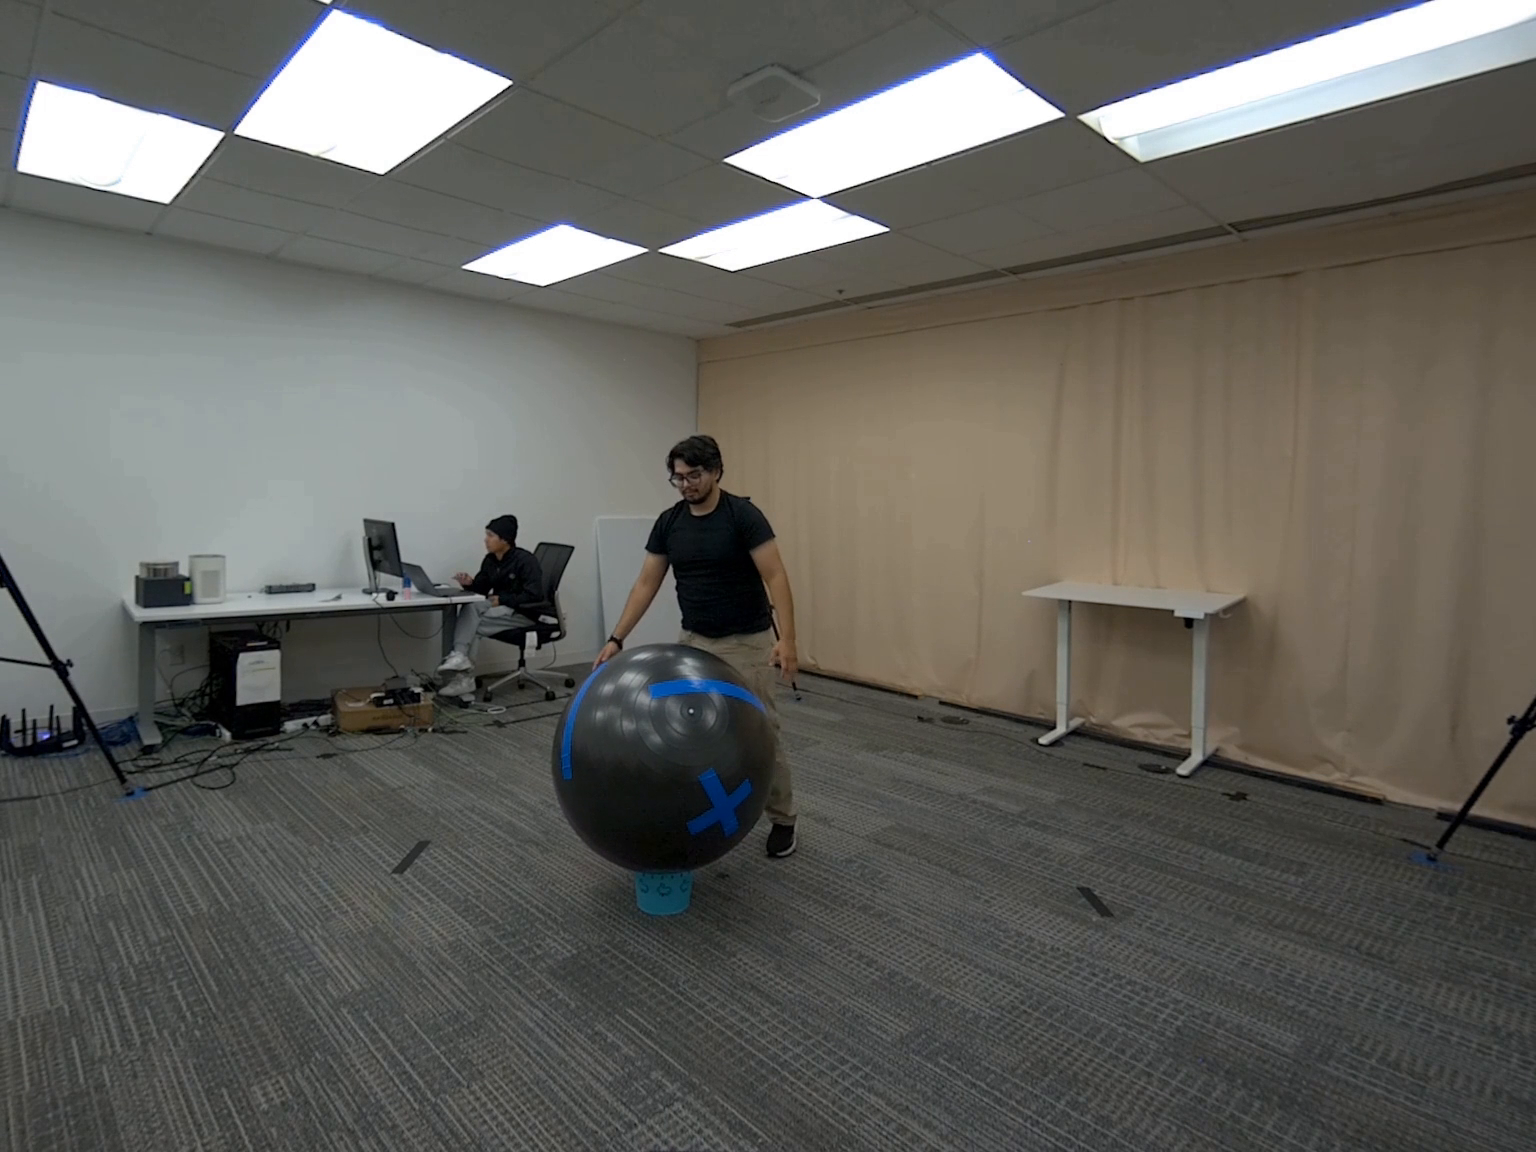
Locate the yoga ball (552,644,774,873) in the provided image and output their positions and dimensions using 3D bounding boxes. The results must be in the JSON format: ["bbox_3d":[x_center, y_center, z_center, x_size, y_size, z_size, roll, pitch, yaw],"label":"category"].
[{"bbox_3d":[-0.357,0.620,2.856,0.757,0.756,0.761,1,4,-1],"label":"yoga ball"}]
